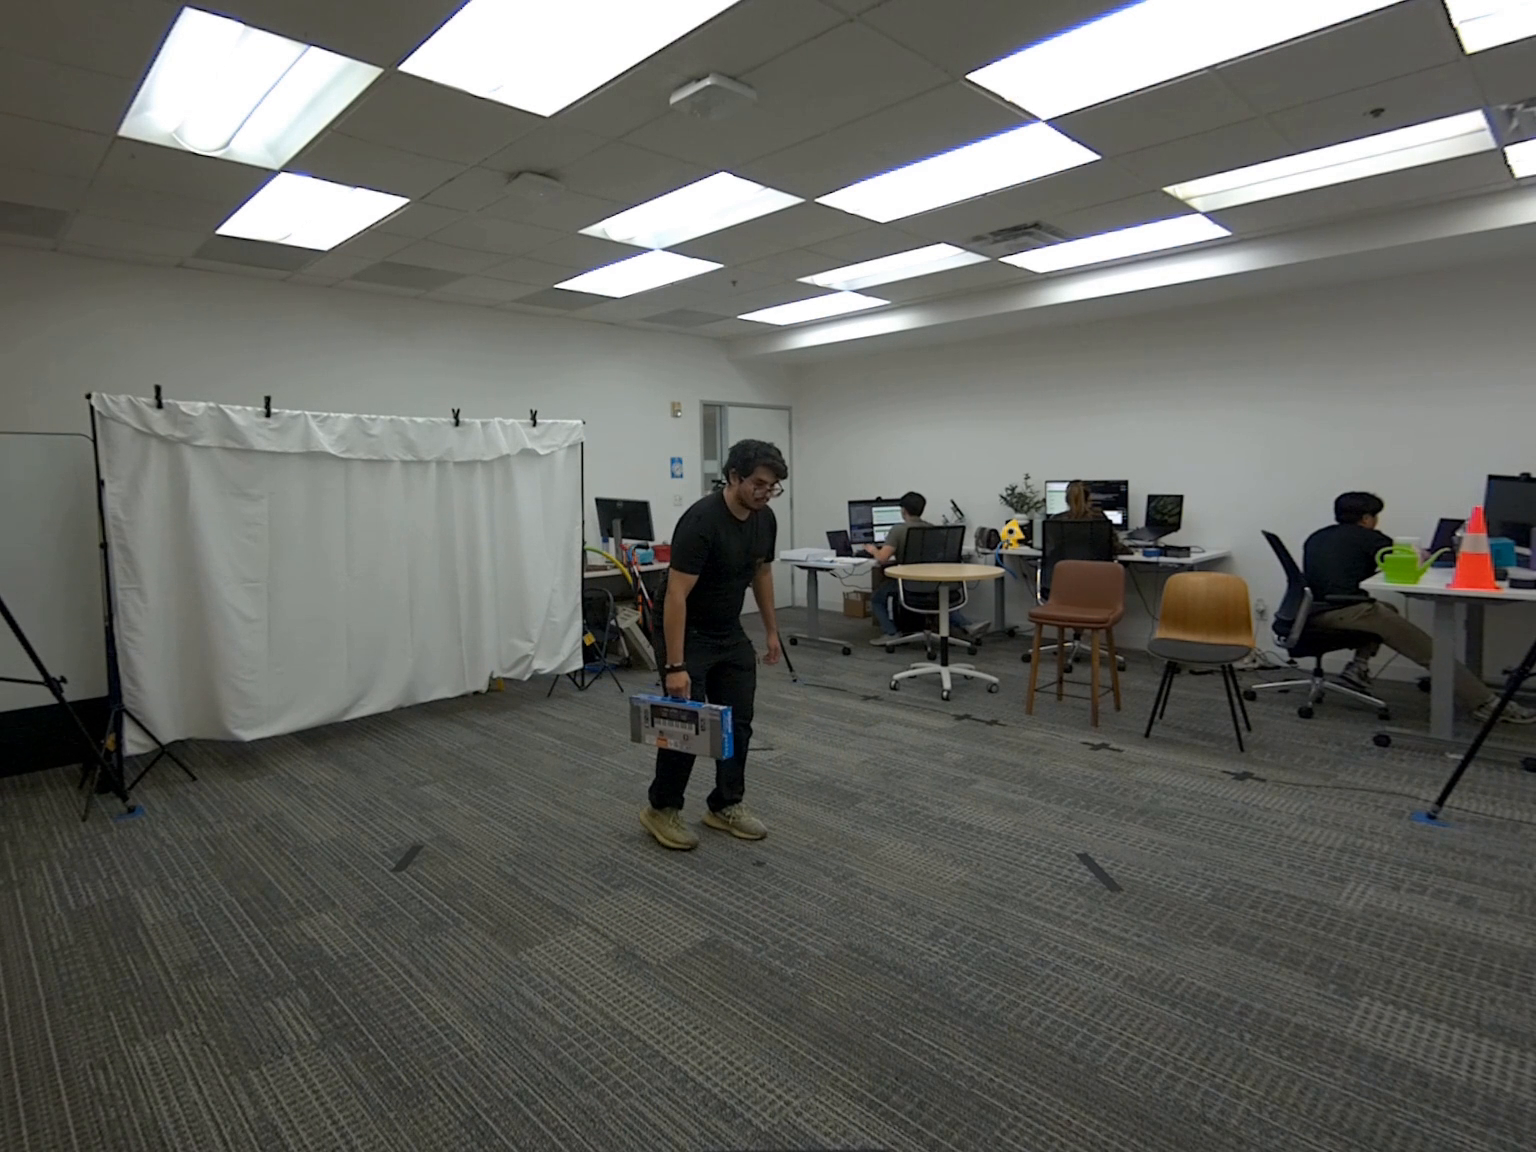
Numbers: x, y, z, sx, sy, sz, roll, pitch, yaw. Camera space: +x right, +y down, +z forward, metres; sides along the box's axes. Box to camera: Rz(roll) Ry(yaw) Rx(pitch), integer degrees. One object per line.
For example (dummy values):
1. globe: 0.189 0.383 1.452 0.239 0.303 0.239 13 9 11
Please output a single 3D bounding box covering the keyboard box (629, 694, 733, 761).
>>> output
1. keyboard box: -0.321 0.543 3.055 0.449 0.175 0.057 2 4 37
